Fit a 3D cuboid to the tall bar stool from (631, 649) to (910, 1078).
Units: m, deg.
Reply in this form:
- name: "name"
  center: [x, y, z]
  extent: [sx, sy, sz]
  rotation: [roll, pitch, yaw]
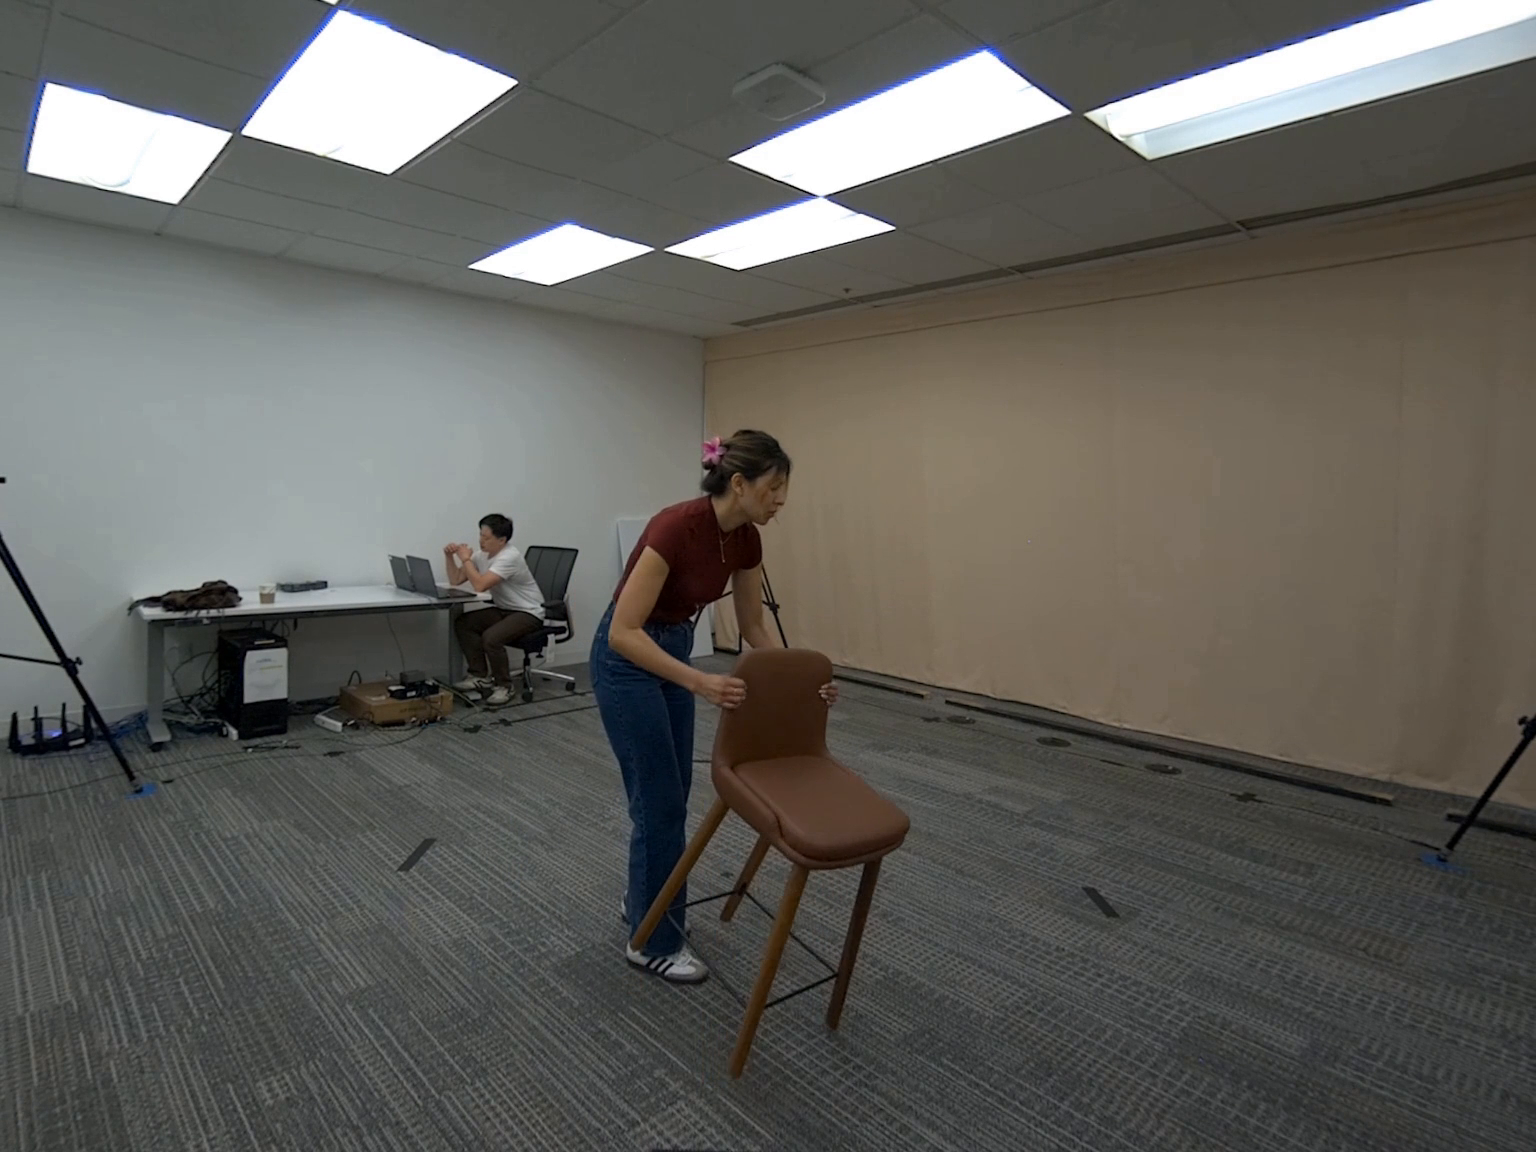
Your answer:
- name: "tall bar stool"
  center: [0.040, 0.693, 2.154]
  extent: [0.482, 0.886, 0.444]
  rotation: [25, 11, 41]
